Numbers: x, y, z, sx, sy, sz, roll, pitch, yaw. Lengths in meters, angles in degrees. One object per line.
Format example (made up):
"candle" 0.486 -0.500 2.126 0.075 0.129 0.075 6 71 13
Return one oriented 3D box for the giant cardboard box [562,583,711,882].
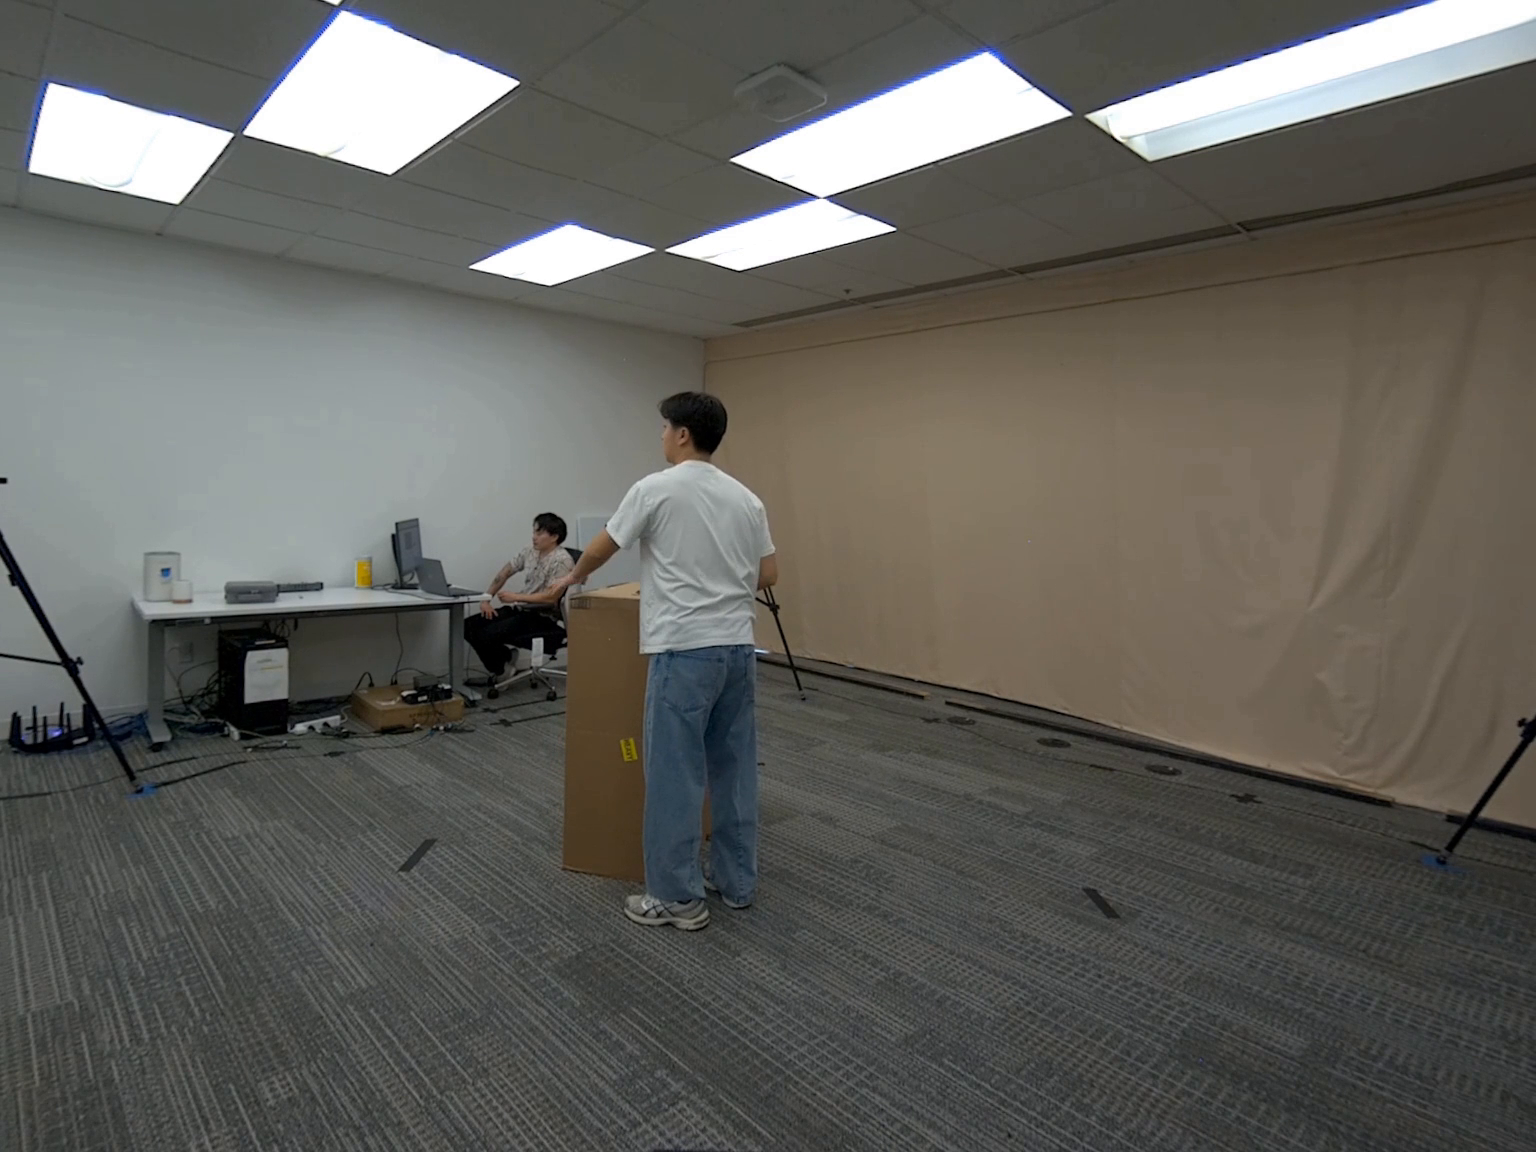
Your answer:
"giant cardboard box" -0.486 0.570 3.320 0.431 1.024 0.571 3 3 14
